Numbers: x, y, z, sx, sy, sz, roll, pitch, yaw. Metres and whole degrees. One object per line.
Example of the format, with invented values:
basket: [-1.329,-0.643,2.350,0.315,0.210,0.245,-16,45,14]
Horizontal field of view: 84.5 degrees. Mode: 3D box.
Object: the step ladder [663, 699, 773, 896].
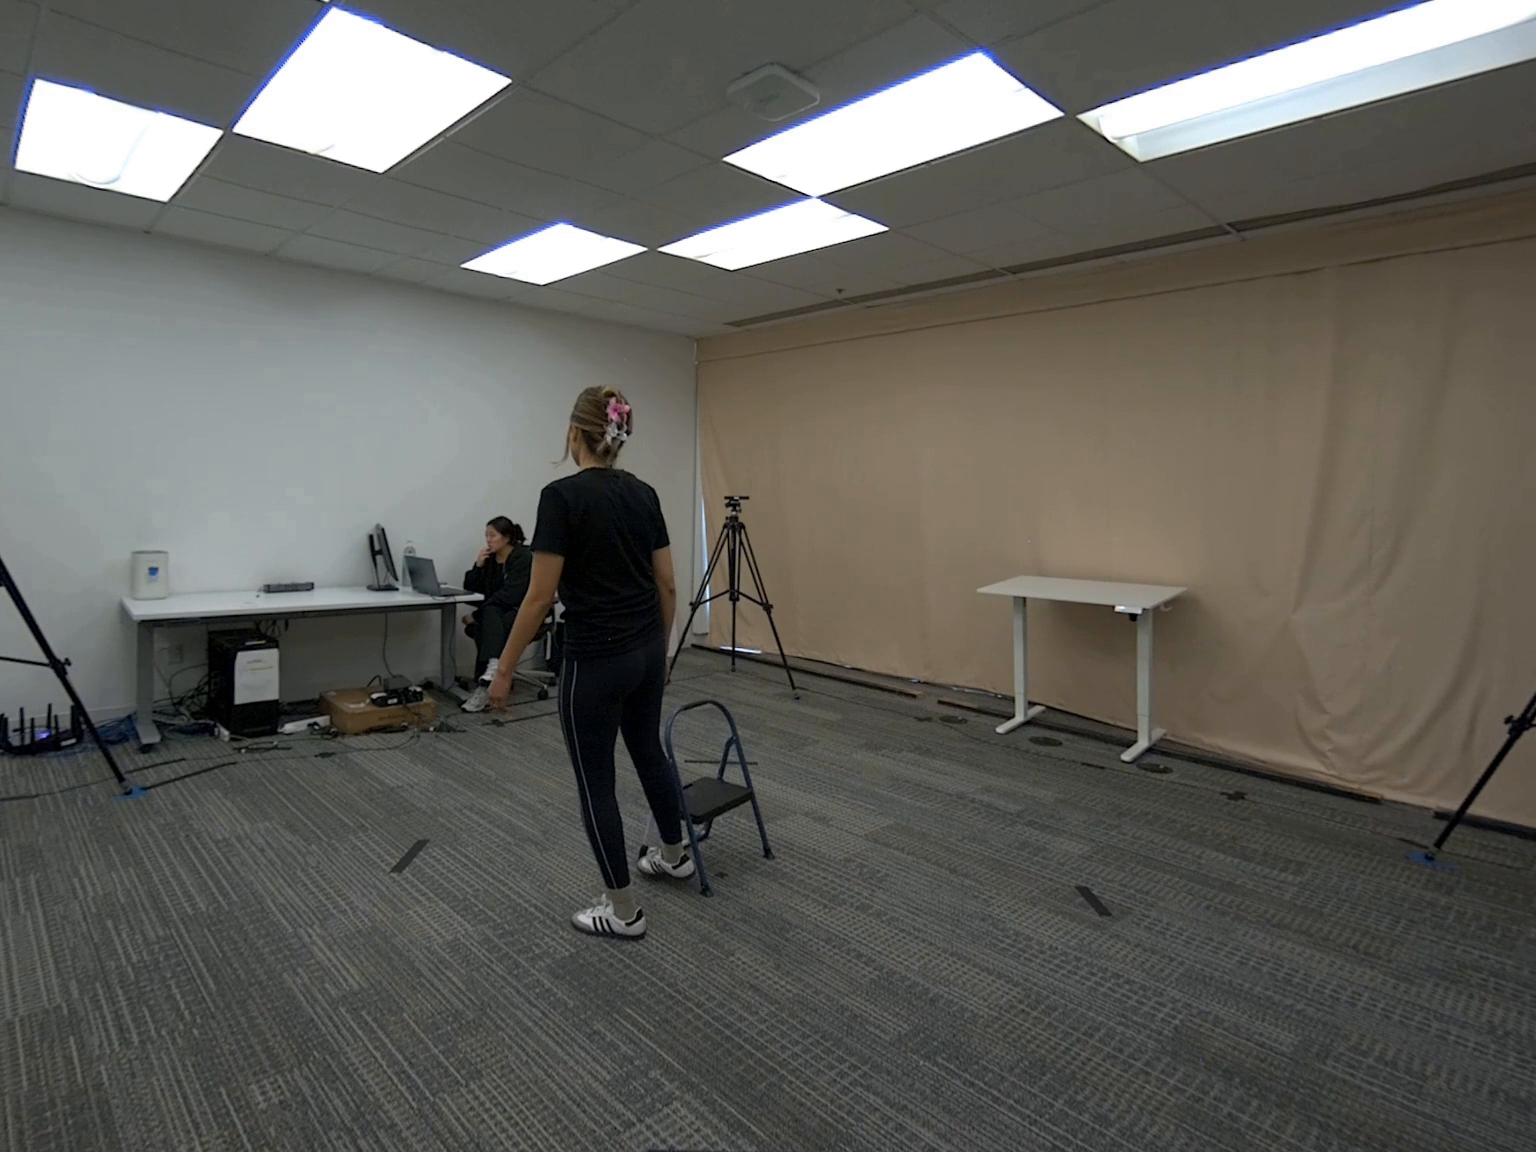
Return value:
step ladder: [-0.233,0.790,3.186,0.357,0.604,0.421,5,5,34]
